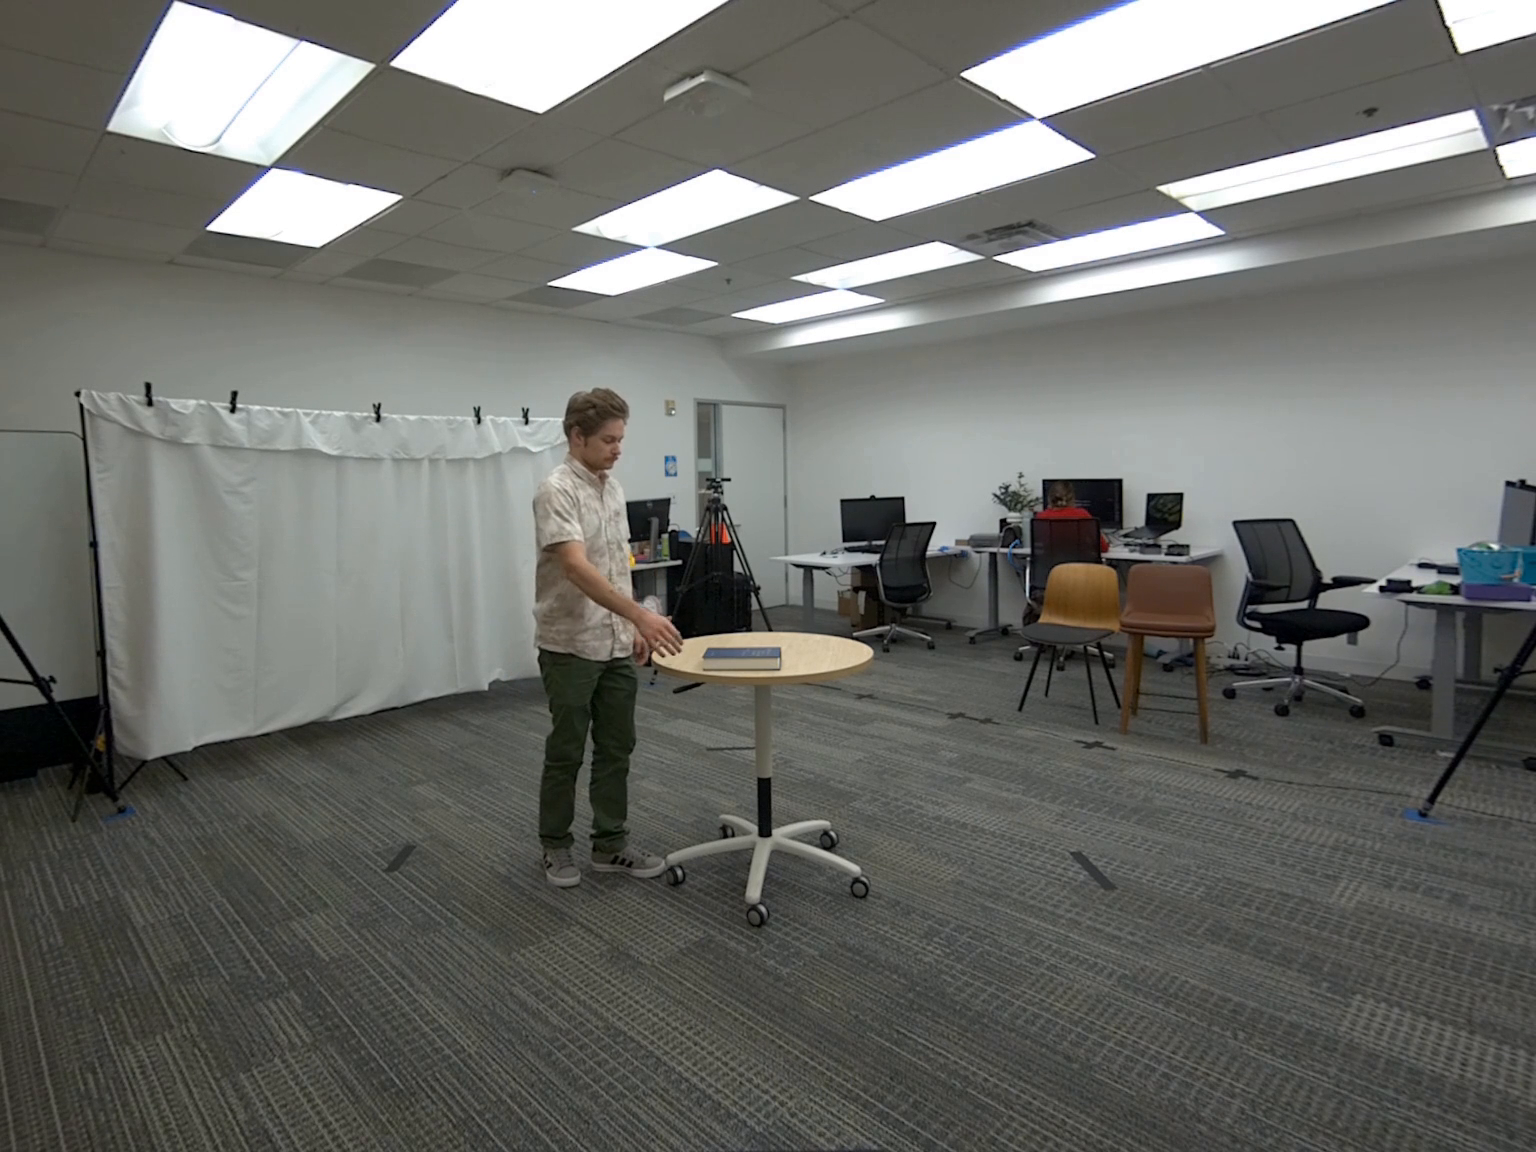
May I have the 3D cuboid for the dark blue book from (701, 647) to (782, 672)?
[{"bbox_3d":[-0.082,0.264,2.752,0.246,0.045,0.163,0,7,5],"label":"dark blue book"}]
